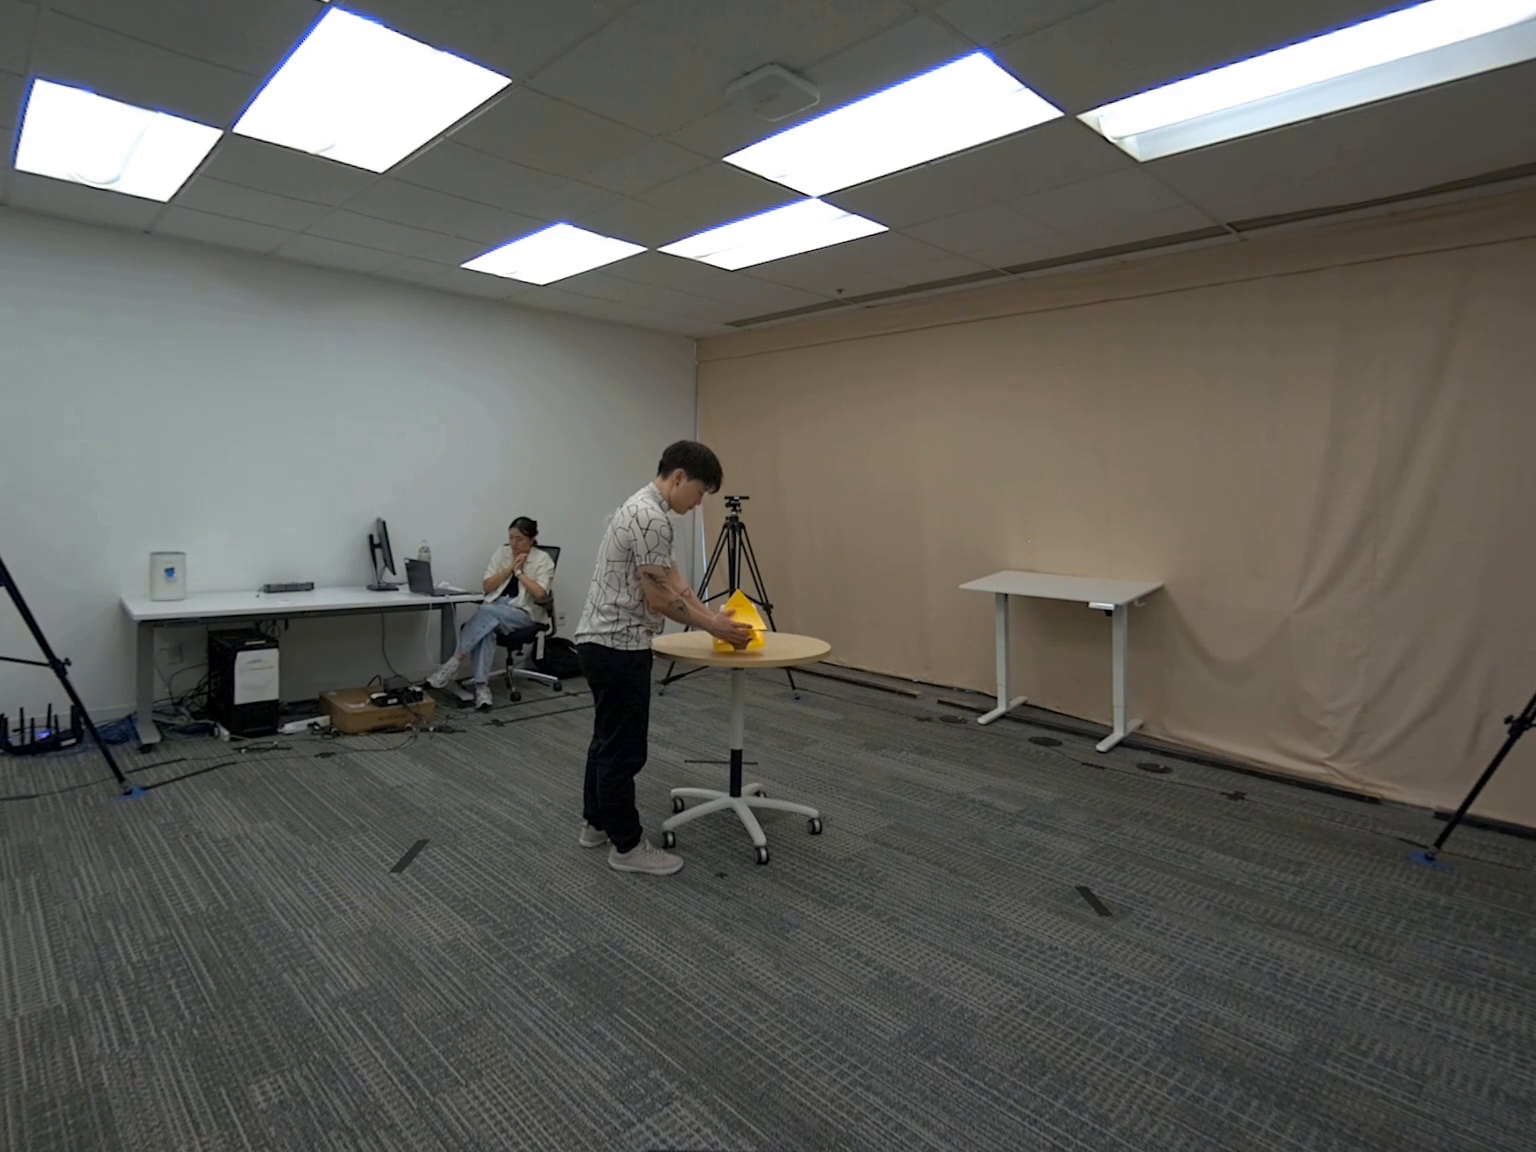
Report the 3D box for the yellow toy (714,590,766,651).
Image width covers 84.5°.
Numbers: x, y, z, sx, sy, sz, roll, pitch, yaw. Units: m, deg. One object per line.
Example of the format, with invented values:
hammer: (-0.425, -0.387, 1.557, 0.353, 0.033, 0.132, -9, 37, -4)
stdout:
yellow toy: (-0.128, 0.160, 3.244, 0.204, 0.230, 0.194, -2, 3, -4)
